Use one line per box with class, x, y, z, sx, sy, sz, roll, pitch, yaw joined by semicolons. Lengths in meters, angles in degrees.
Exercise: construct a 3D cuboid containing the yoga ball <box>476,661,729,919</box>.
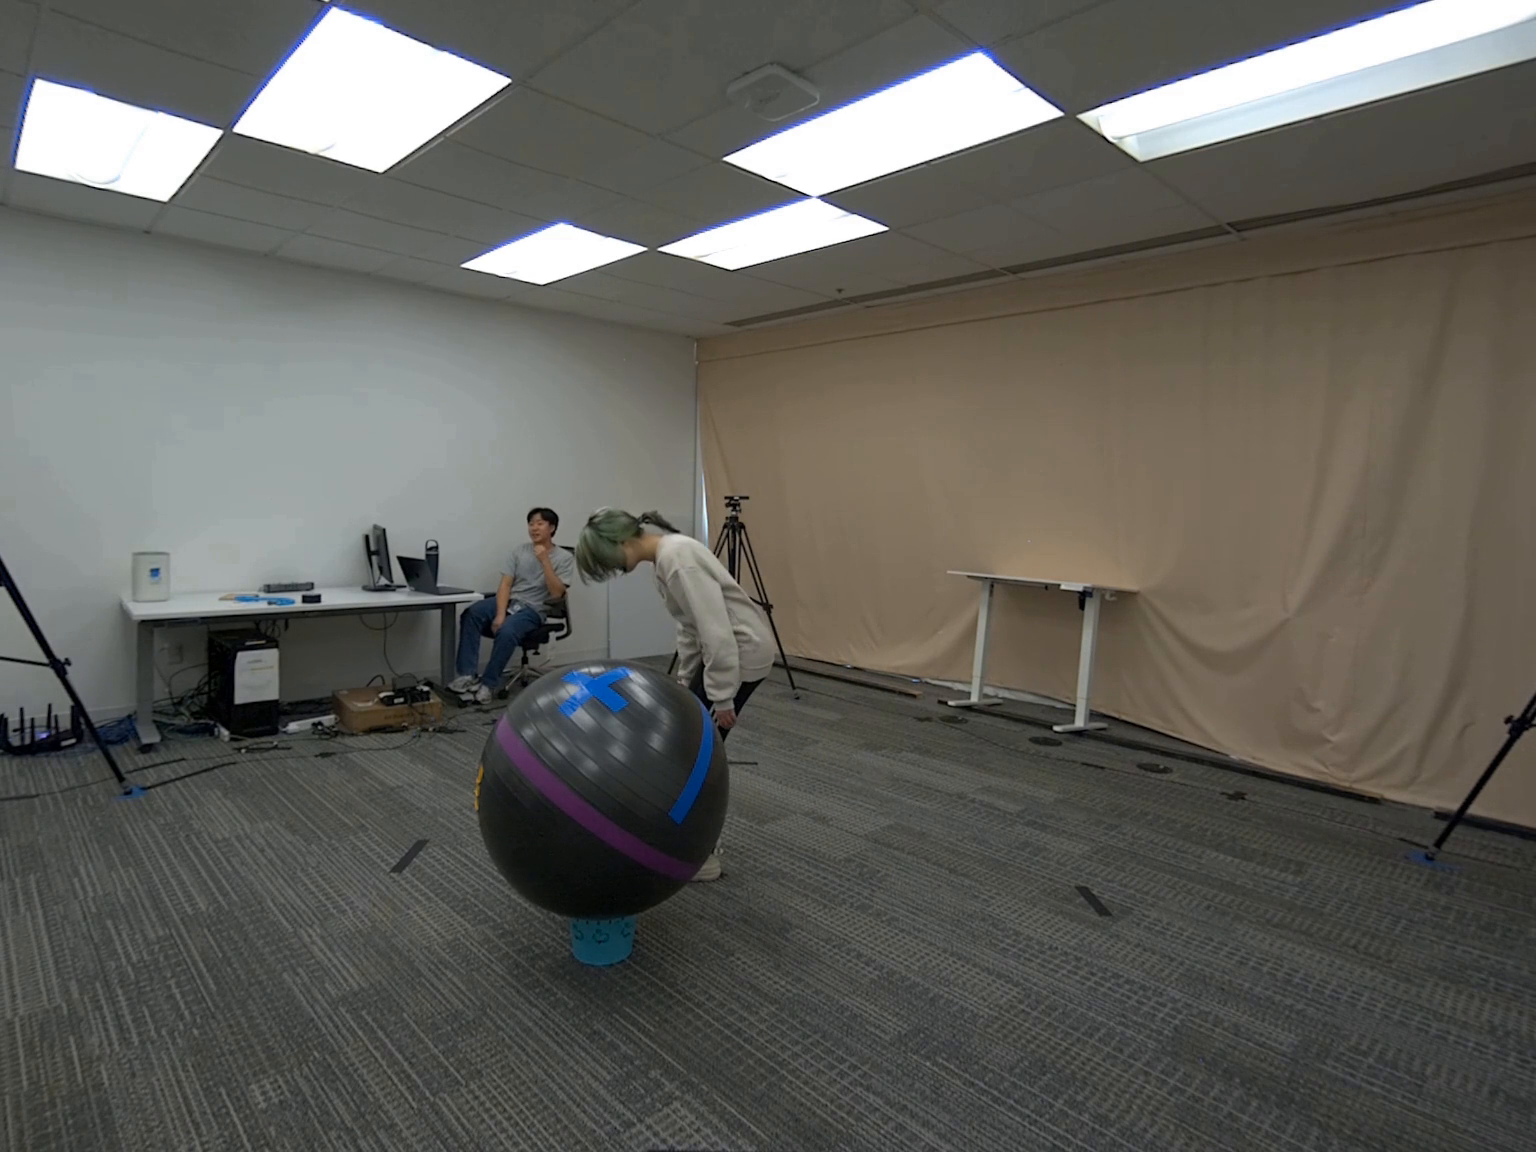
yoga ball;-0.501;0.639;2.553;0.757;0.756;0.761;1;4;-1
